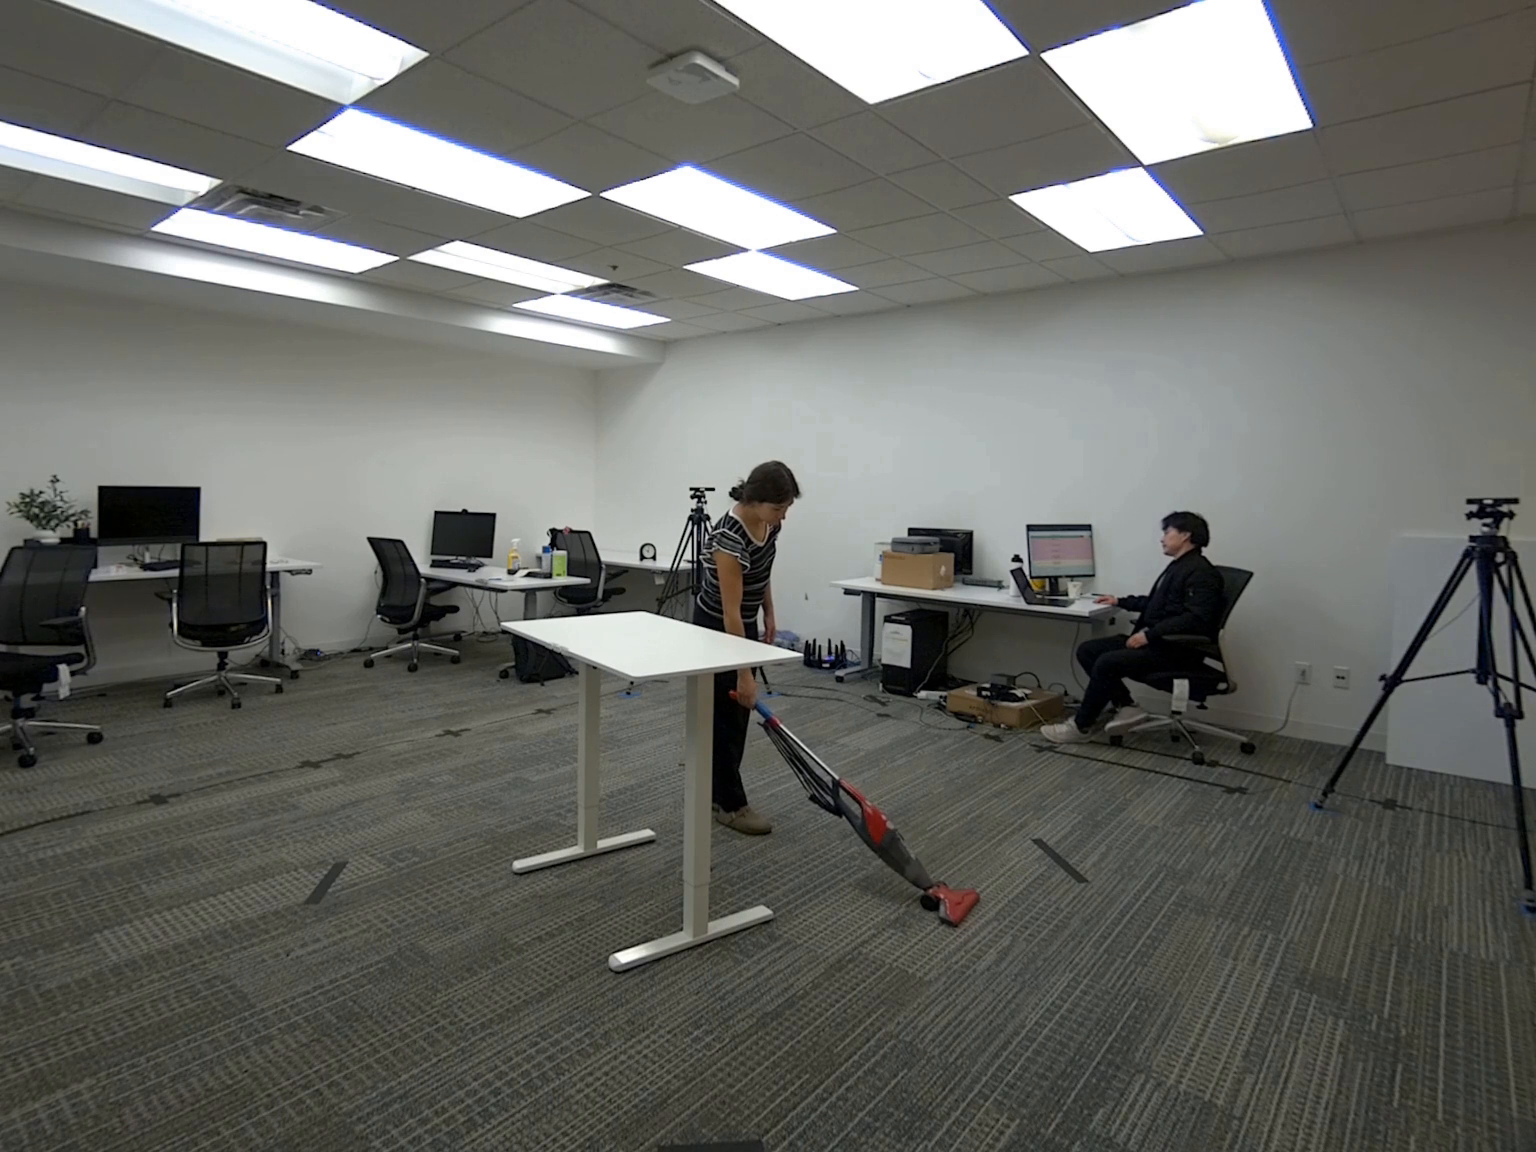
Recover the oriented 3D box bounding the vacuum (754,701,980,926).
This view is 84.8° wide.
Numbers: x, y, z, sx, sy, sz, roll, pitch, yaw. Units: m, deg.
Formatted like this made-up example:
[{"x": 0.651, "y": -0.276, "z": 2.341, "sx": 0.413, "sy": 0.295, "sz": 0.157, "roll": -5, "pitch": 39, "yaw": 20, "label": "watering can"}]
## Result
[{"x": 0.249, "y": 0.785, "z": 3.097, "sx": 1.086, "sy": 0.143, "sz": 0.245, "roll": 41, "pitch": 19, "yaw": 26, "label": "vacuum"}]
